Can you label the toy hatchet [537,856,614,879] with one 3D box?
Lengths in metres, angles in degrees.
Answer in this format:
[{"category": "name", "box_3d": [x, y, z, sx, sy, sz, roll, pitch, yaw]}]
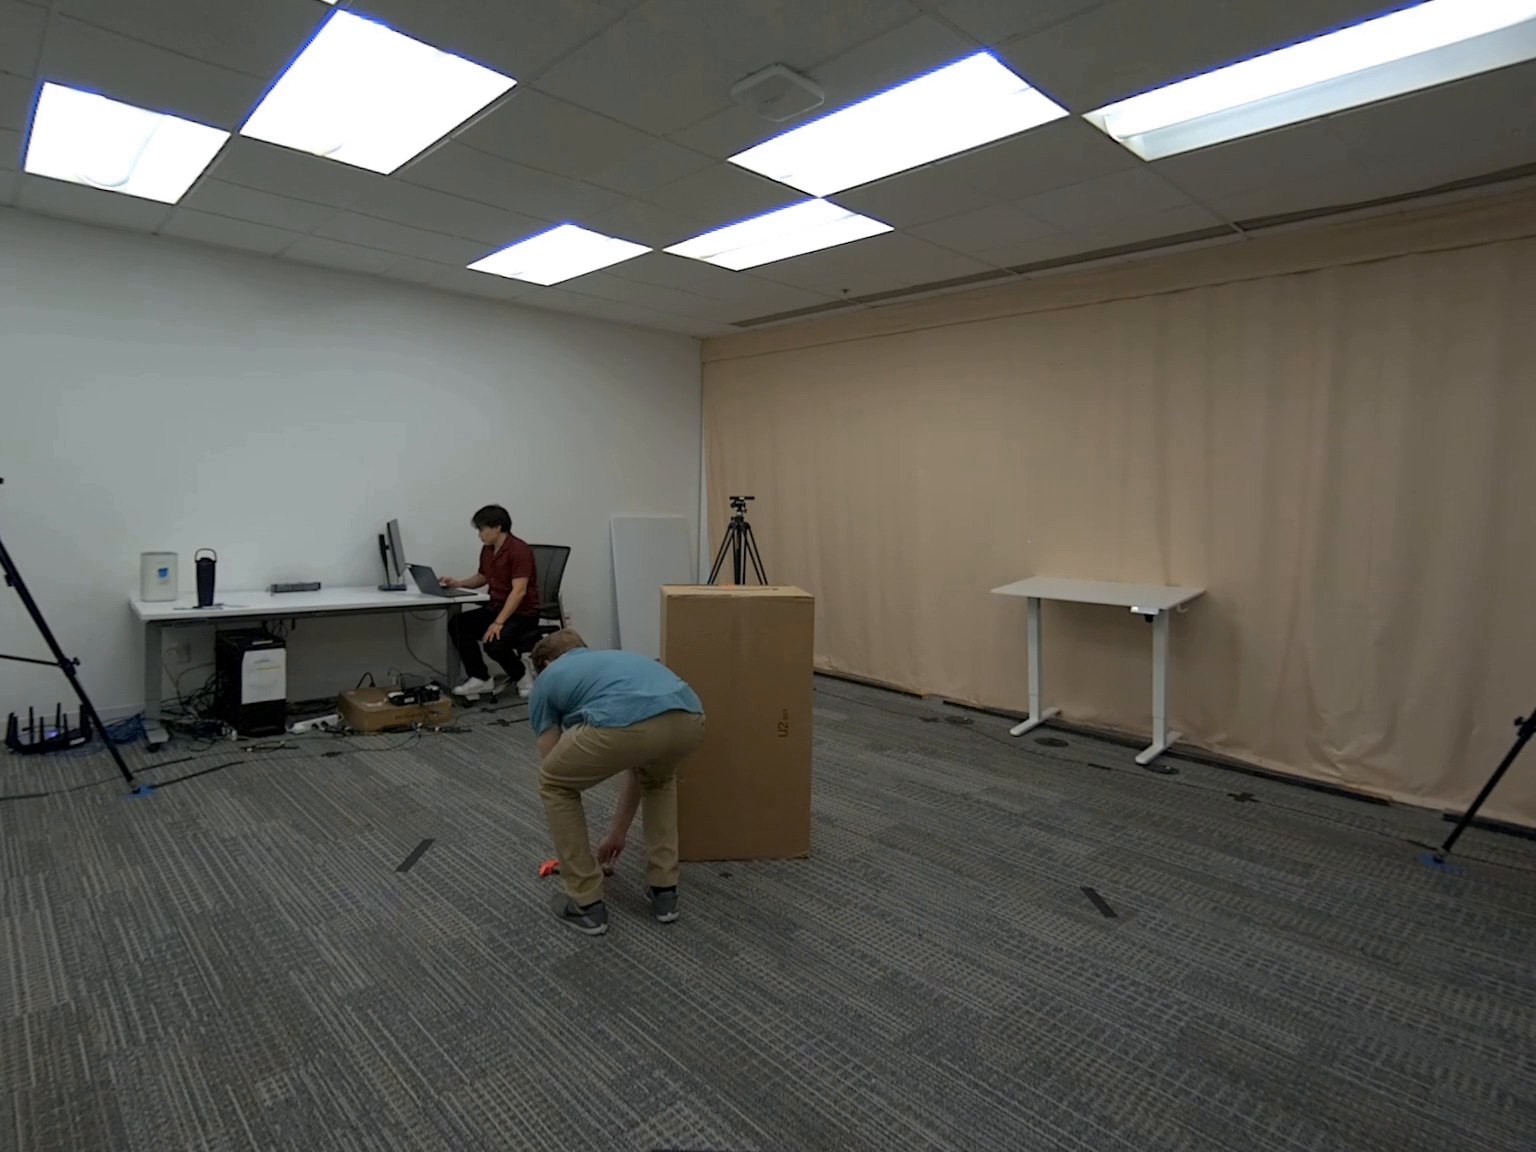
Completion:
[{"category": "toy hatchet", "box_3d": [-0.709, 1.071, 3.116, 0.268, 0.029, 0.132, 4, 2, -11]}]
